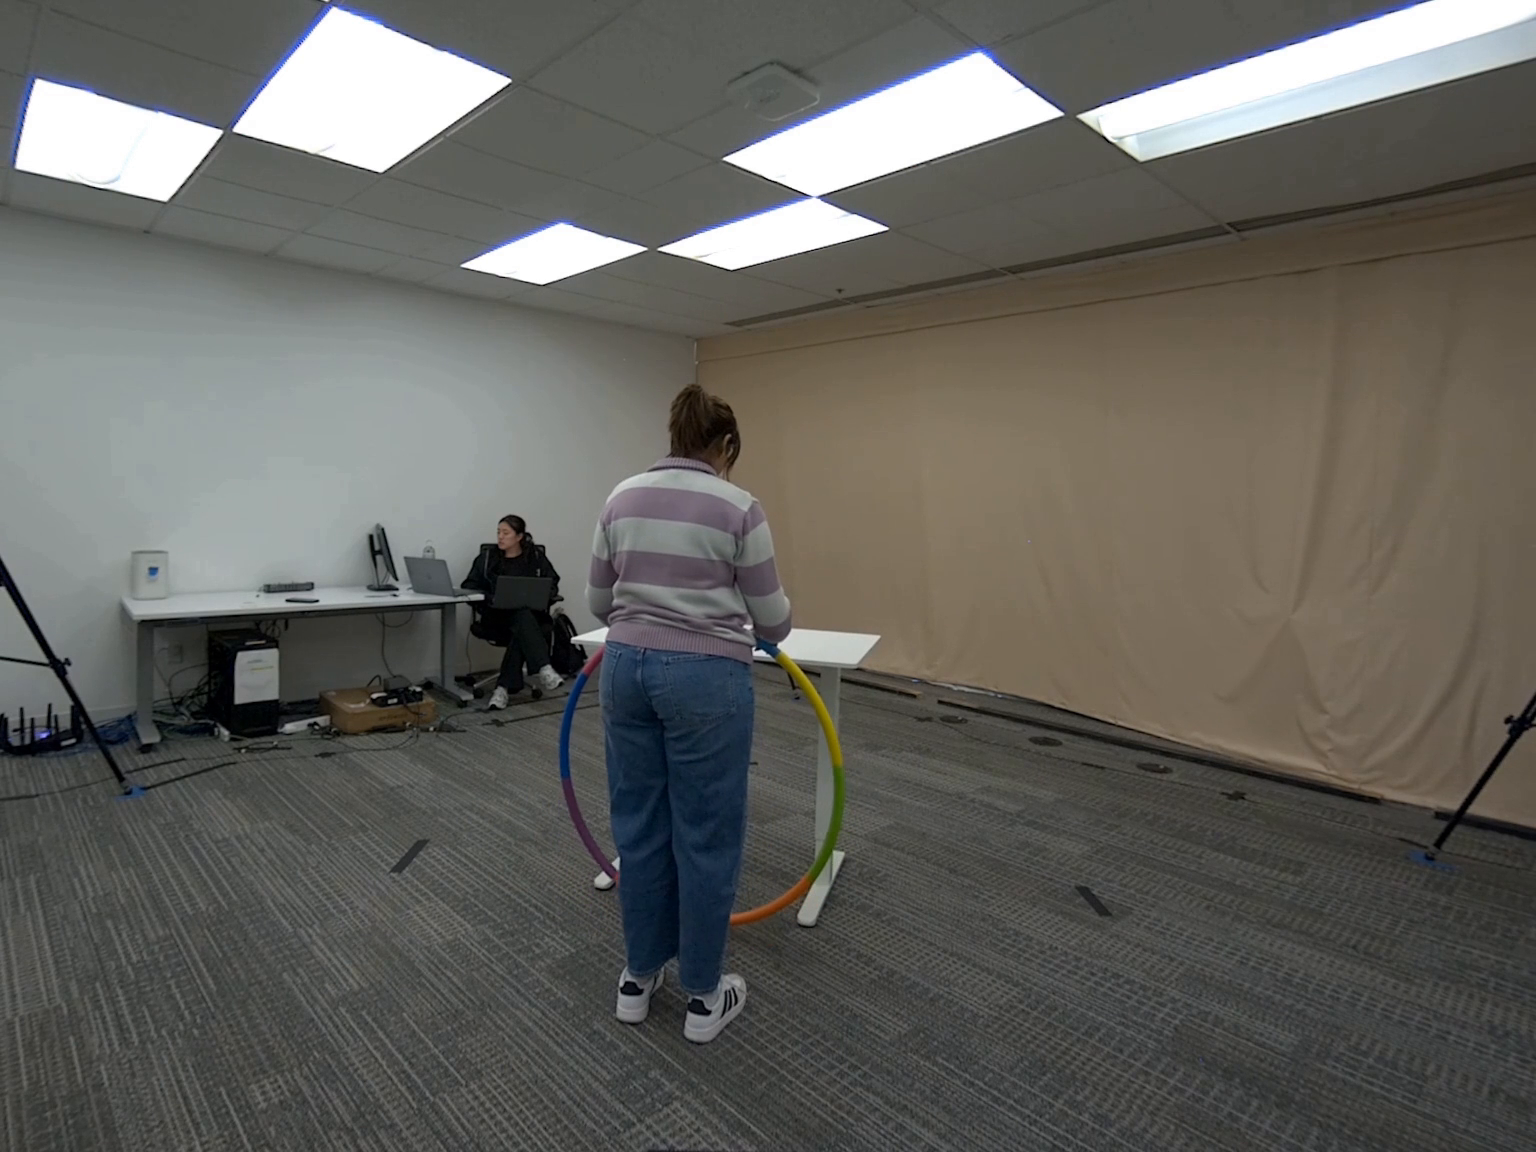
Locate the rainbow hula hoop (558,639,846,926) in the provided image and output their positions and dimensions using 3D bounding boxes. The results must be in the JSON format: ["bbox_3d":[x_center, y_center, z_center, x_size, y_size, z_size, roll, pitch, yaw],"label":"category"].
[{"bbox_3d":[-0.244,0.623,2.652,0.994,0.976,0.035,3,4,20],"label":"rainbow hula hoop"}]
